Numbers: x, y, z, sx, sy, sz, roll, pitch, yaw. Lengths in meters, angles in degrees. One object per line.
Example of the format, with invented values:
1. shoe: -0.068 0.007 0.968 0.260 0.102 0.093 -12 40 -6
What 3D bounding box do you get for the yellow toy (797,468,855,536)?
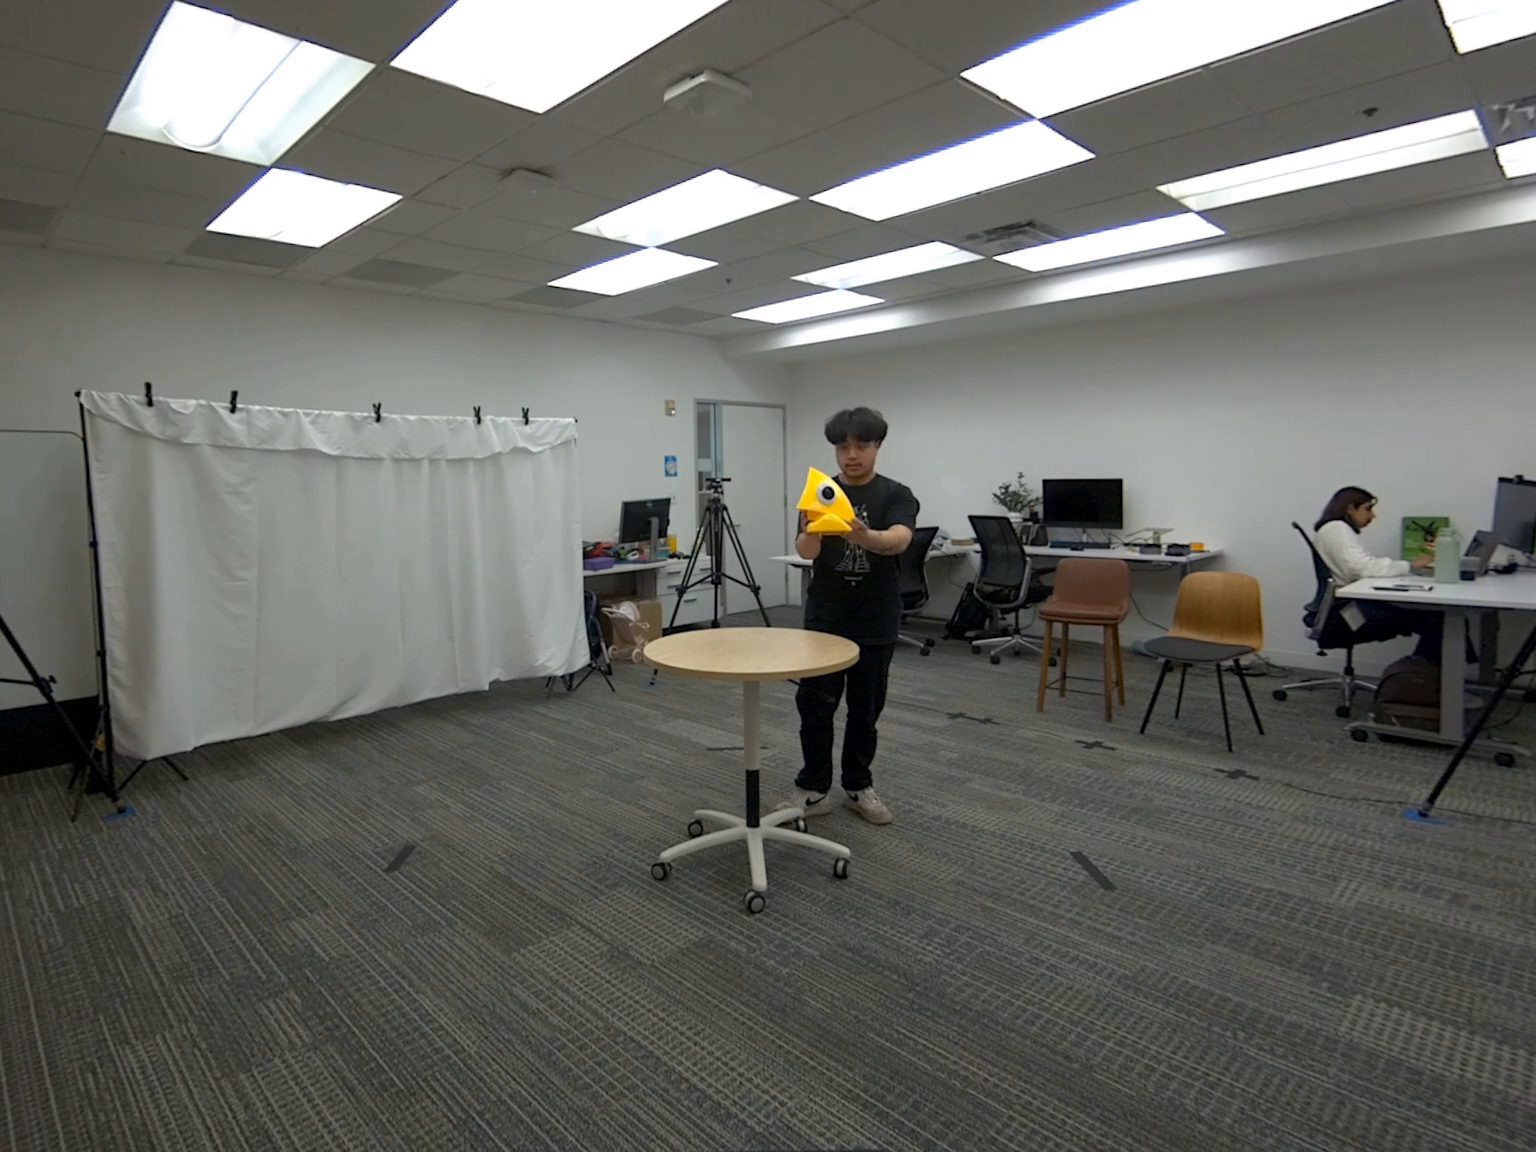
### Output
1. yellow toy: 0.210 -0.267 2.963 0.196 0.231 0.201 -4 -3 14
